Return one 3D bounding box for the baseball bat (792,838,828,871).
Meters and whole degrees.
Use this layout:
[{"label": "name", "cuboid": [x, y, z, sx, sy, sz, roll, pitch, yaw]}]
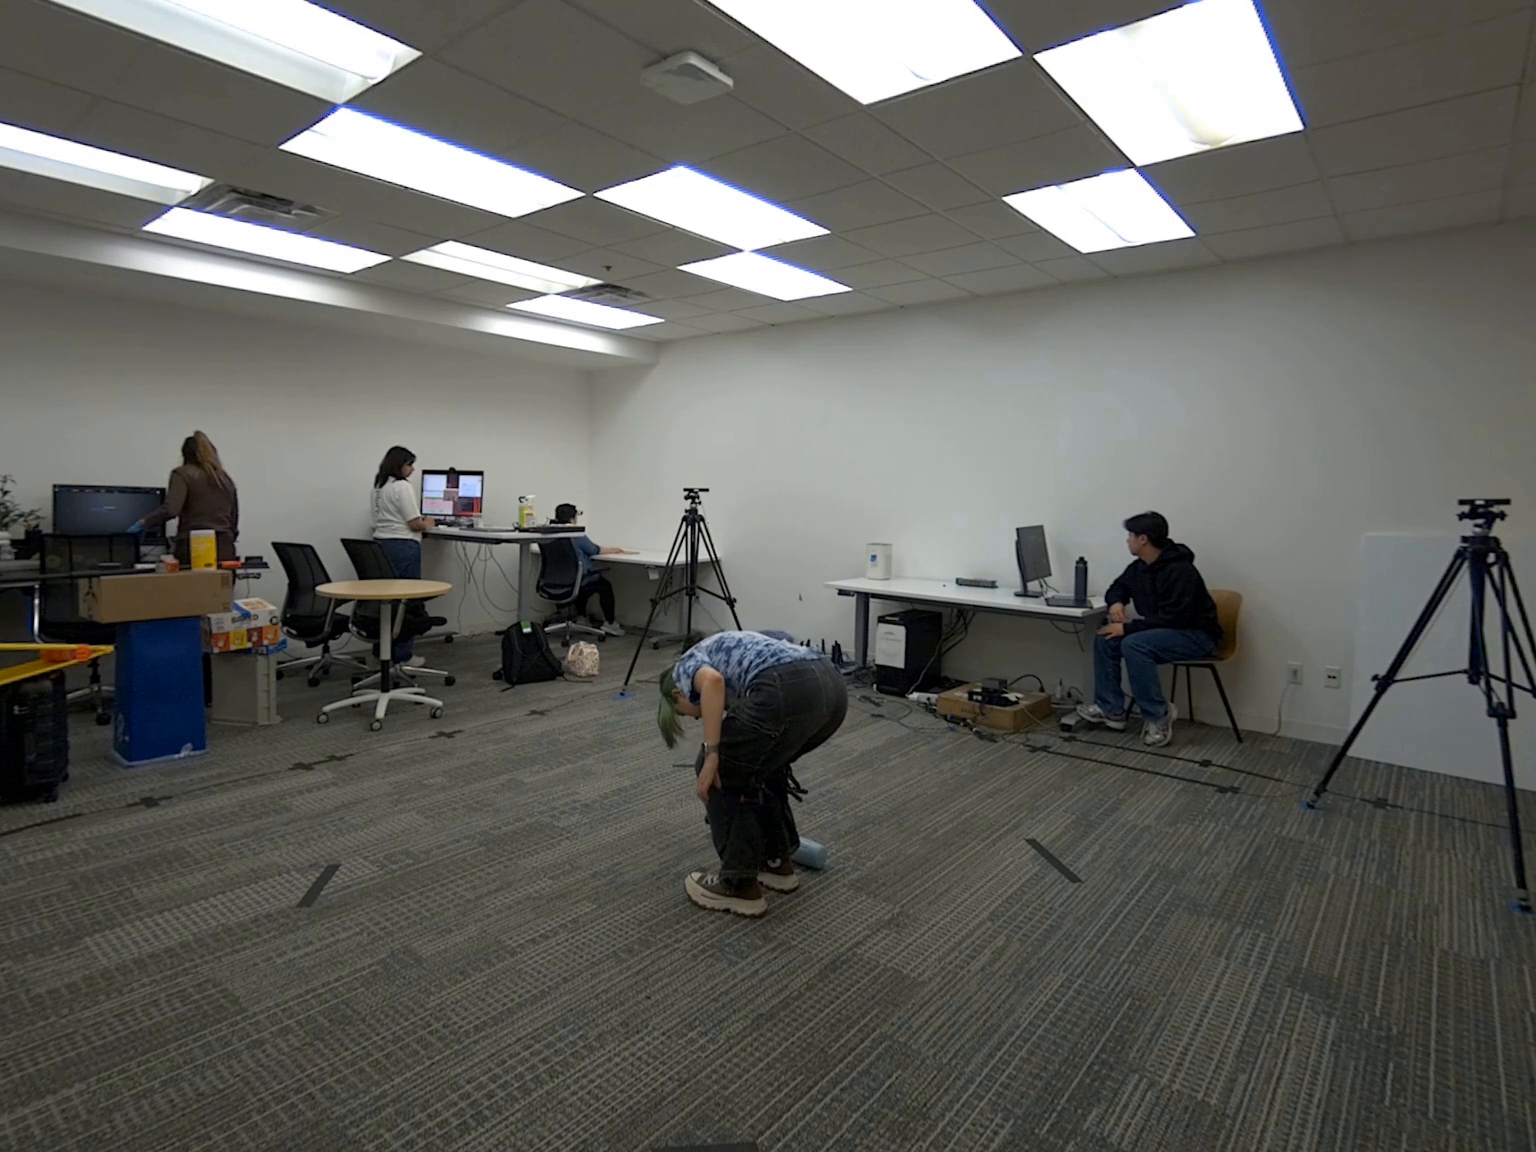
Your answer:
[{"label": "baseball bat", "cuboid": [-0.029, 1.000, 3.281, 0.561, 0.089, 0.086, 6, 6, 36]}]
